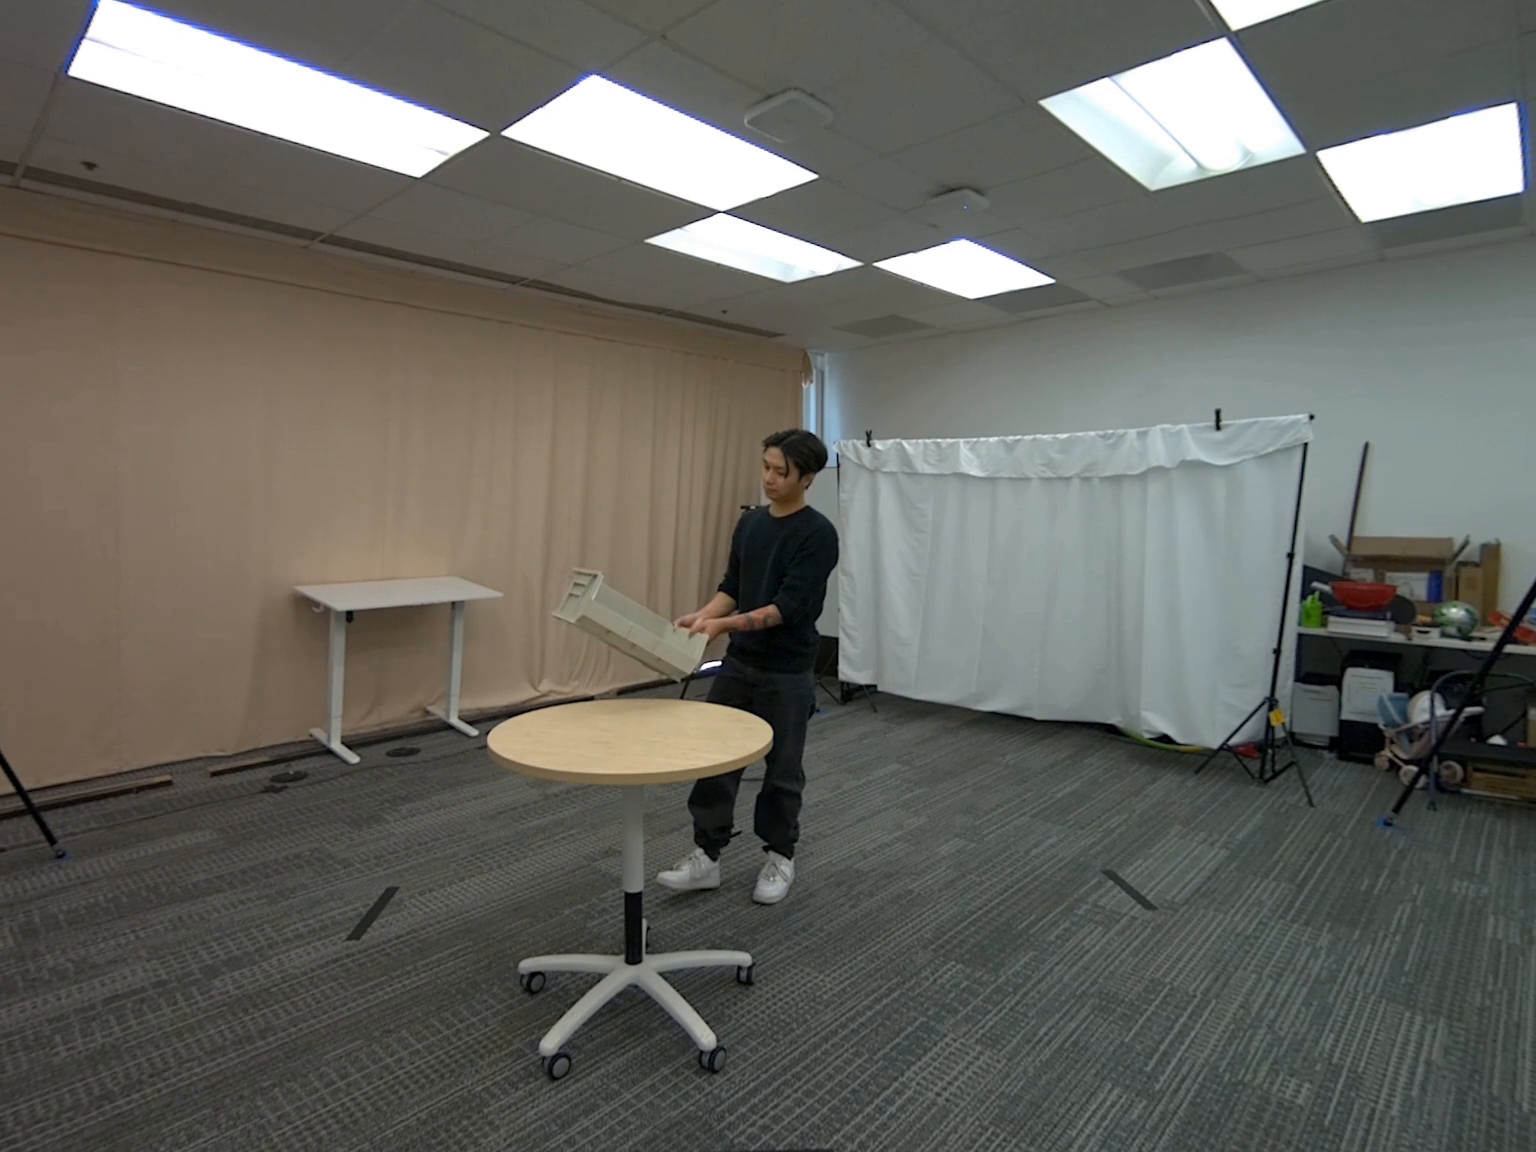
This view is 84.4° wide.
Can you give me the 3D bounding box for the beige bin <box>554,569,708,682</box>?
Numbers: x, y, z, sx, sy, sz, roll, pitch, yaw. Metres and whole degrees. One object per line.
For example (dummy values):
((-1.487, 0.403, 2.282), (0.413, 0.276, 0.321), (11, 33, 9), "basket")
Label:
((-0.456, 0.162, 2.773), (0.412, 0.189, 0.387), (32, -12, -22), "beige bin")
